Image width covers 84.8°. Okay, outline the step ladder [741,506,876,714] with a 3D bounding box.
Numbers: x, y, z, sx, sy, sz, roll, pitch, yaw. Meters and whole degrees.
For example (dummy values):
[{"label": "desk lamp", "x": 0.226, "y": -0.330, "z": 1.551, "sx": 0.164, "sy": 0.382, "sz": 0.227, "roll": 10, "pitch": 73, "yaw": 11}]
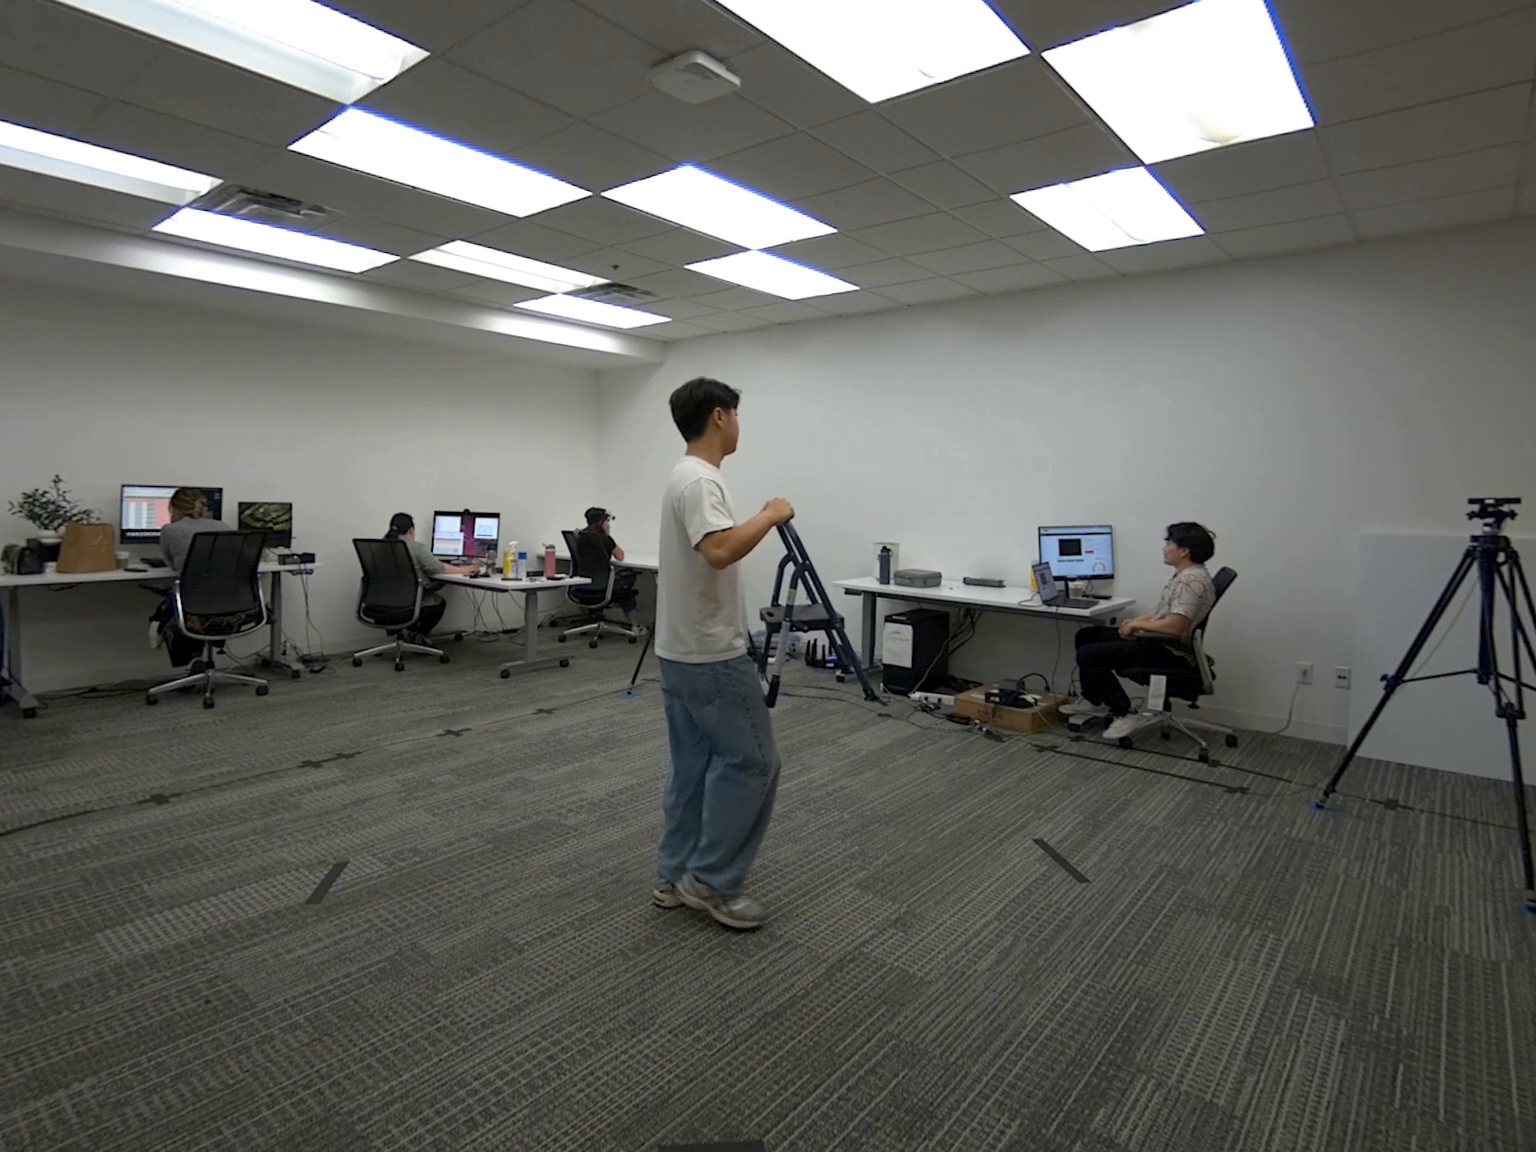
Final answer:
[{"label": "step ladder", "x": 0.118, "y": 0.087, "z": 2.798, "sx": 0.348, "sy": 0.603, "sz": 0.434, "roll": -4, "pitch": 5, "yaw": -4}]
